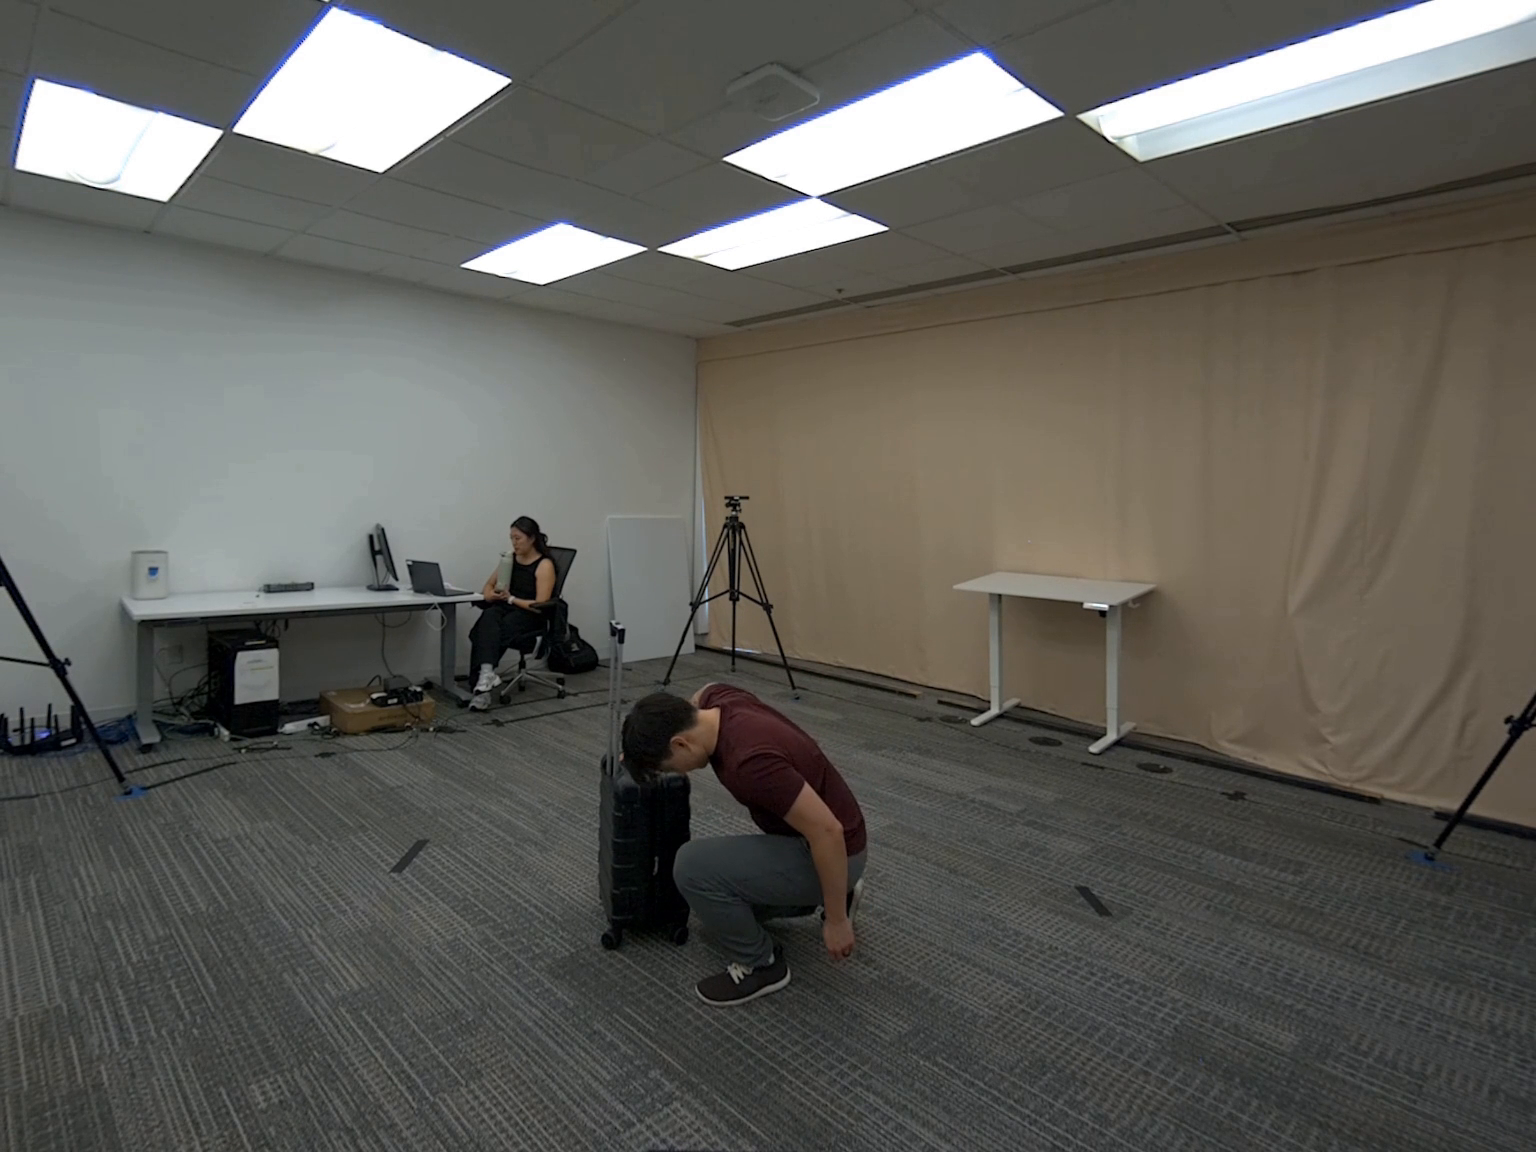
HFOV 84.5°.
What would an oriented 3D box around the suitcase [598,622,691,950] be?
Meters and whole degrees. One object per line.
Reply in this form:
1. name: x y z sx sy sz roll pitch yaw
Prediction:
1. suitcase: -0.410 0.660 2.728 0.254 0.975 0.389 2 4 -14
